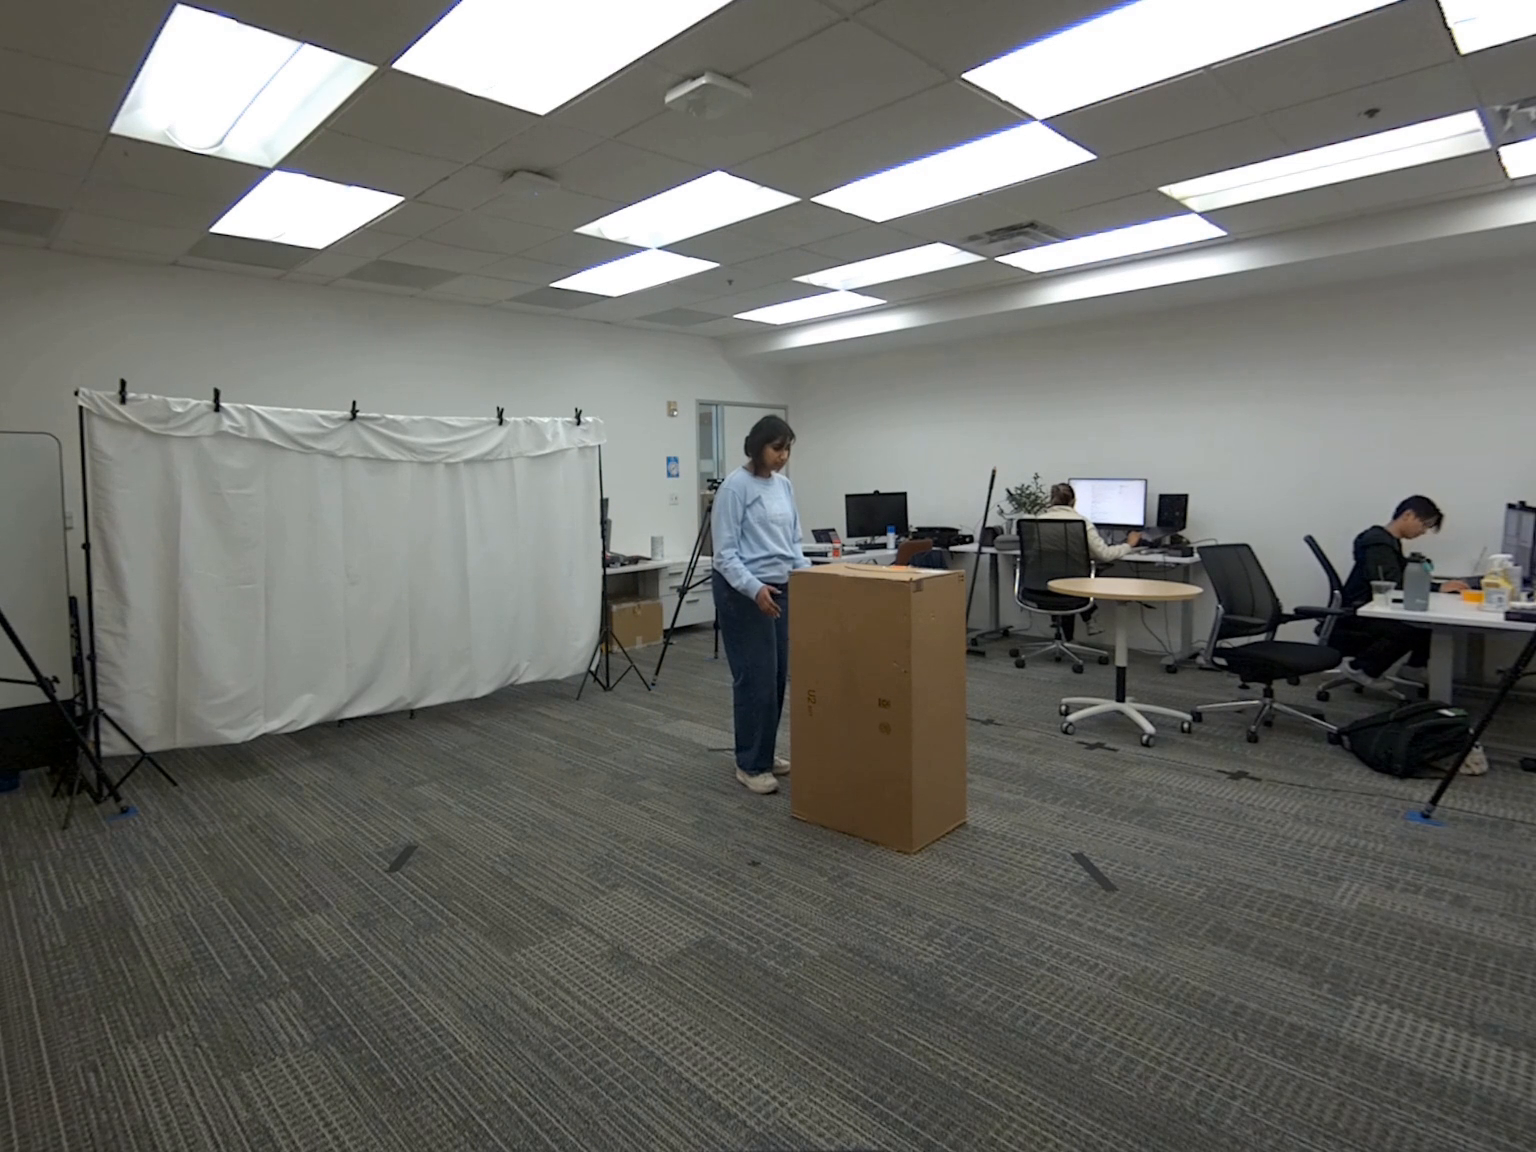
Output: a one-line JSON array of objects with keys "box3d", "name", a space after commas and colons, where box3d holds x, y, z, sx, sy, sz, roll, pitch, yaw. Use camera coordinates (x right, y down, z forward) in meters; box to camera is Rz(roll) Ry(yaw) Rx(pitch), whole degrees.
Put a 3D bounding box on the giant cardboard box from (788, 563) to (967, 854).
[{"box3d": [0.447, 0.489, 3.468, 0.595, 1.022, 0.415, 3, 5, 41], "name": "giant cardboard box"}]
